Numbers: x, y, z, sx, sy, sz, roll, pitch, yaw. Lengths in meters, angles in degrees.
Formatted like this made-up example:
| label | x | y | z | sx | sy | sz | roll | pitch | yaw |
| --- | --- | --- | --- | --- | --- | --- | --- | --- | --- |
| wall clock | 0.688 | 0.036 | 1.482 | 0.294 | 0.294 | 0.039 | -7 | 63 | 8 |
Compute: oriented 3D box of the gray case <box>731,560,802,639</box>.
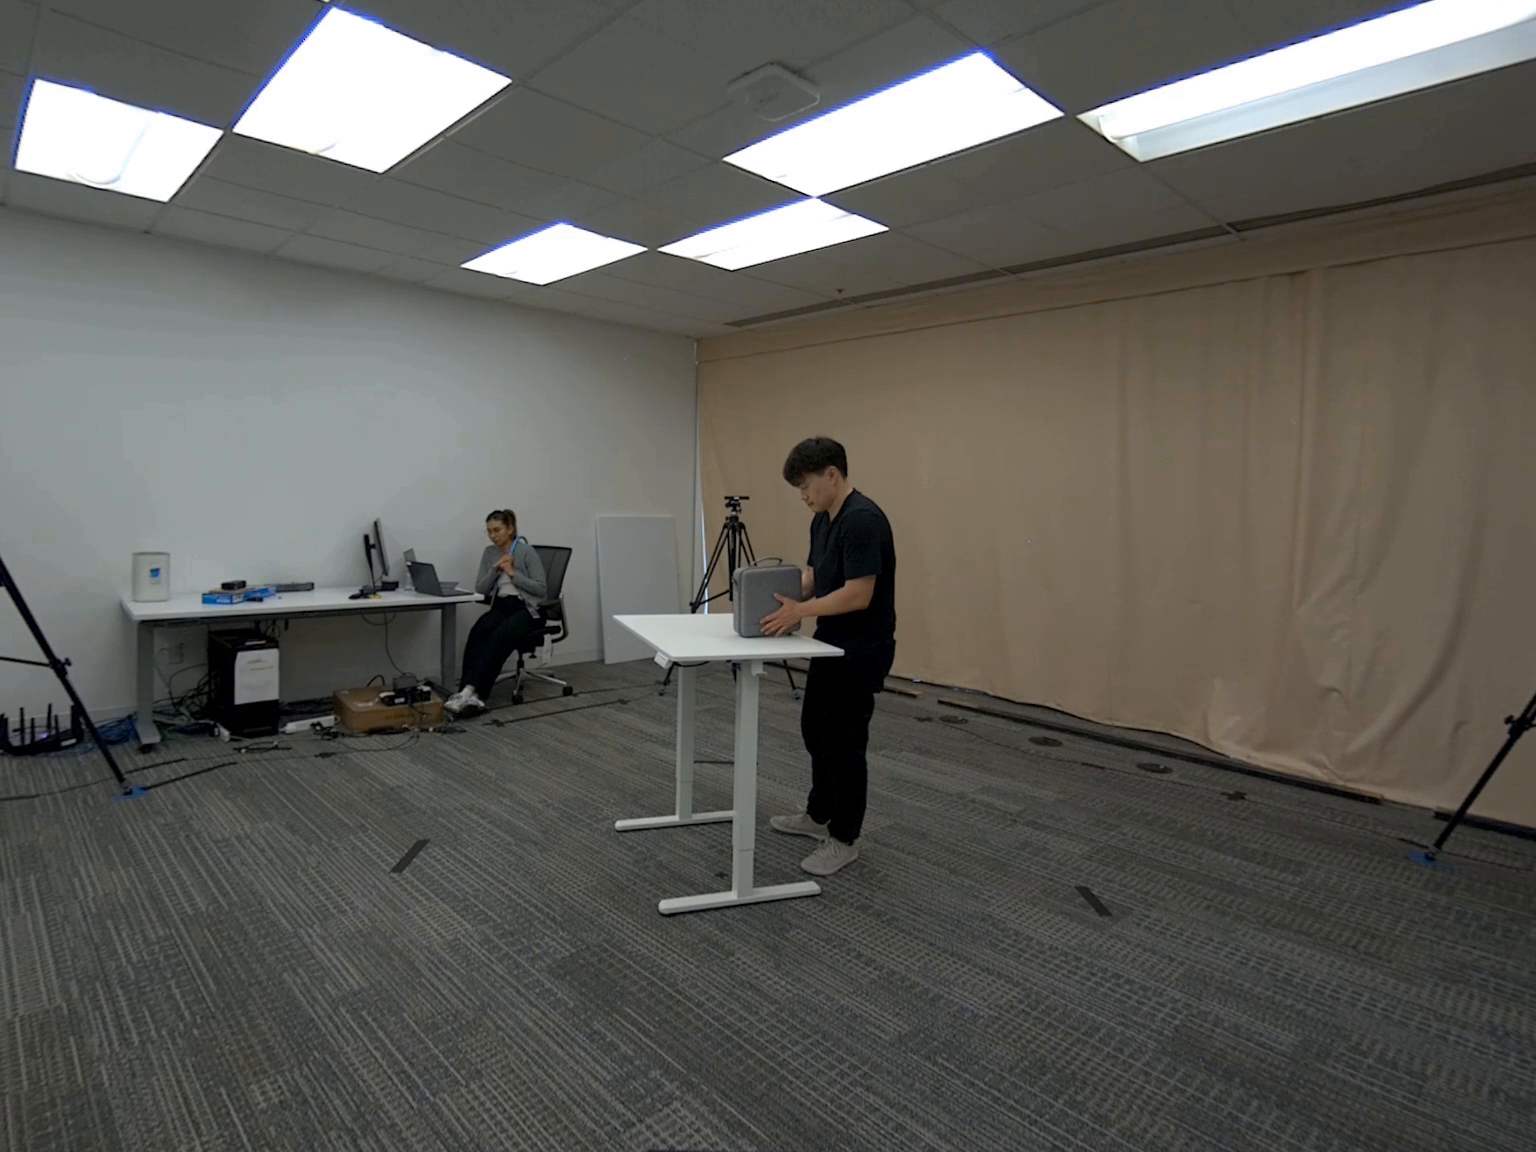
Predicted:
| label | x | y | z | sx | sy | sz | roll | pitch | yaw |
| --- | --- | --- | --- | --- | --- | --- | --- | --- | --- |
| gray case | -0.012 | 0.084 | 3.117 | 0.252 | 0.259 | 0.106 | -3 | 7 | -26 |
